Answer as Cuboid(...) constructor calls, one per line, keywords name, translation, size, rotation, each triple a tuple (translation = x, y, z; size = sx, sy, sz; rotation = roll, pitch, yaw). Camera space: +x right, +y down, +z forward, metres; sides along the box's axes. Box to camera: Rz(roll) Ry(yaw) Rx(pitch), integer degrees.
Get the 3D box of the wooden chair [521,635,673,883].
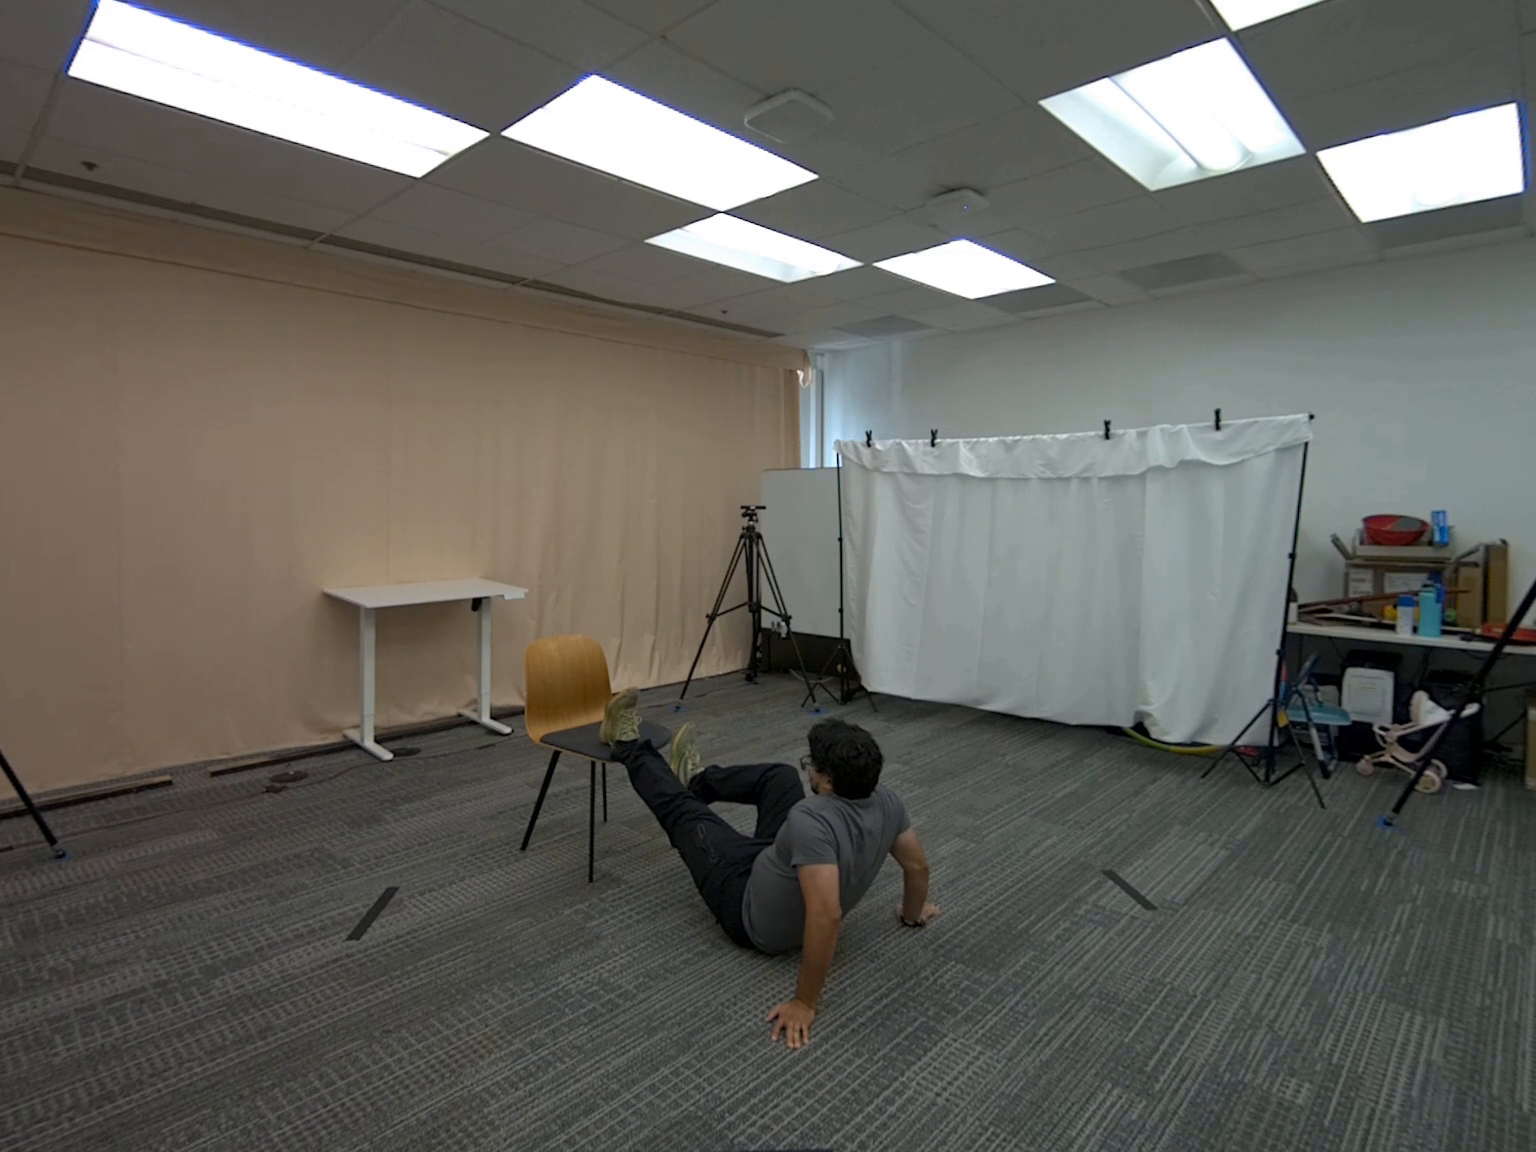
Cuboid(name="wooden chair", translation=(-0.688, 0.689, 3.401), size=(0.539, 0.877, 0.463), rotation=(-3, 0, 41))
